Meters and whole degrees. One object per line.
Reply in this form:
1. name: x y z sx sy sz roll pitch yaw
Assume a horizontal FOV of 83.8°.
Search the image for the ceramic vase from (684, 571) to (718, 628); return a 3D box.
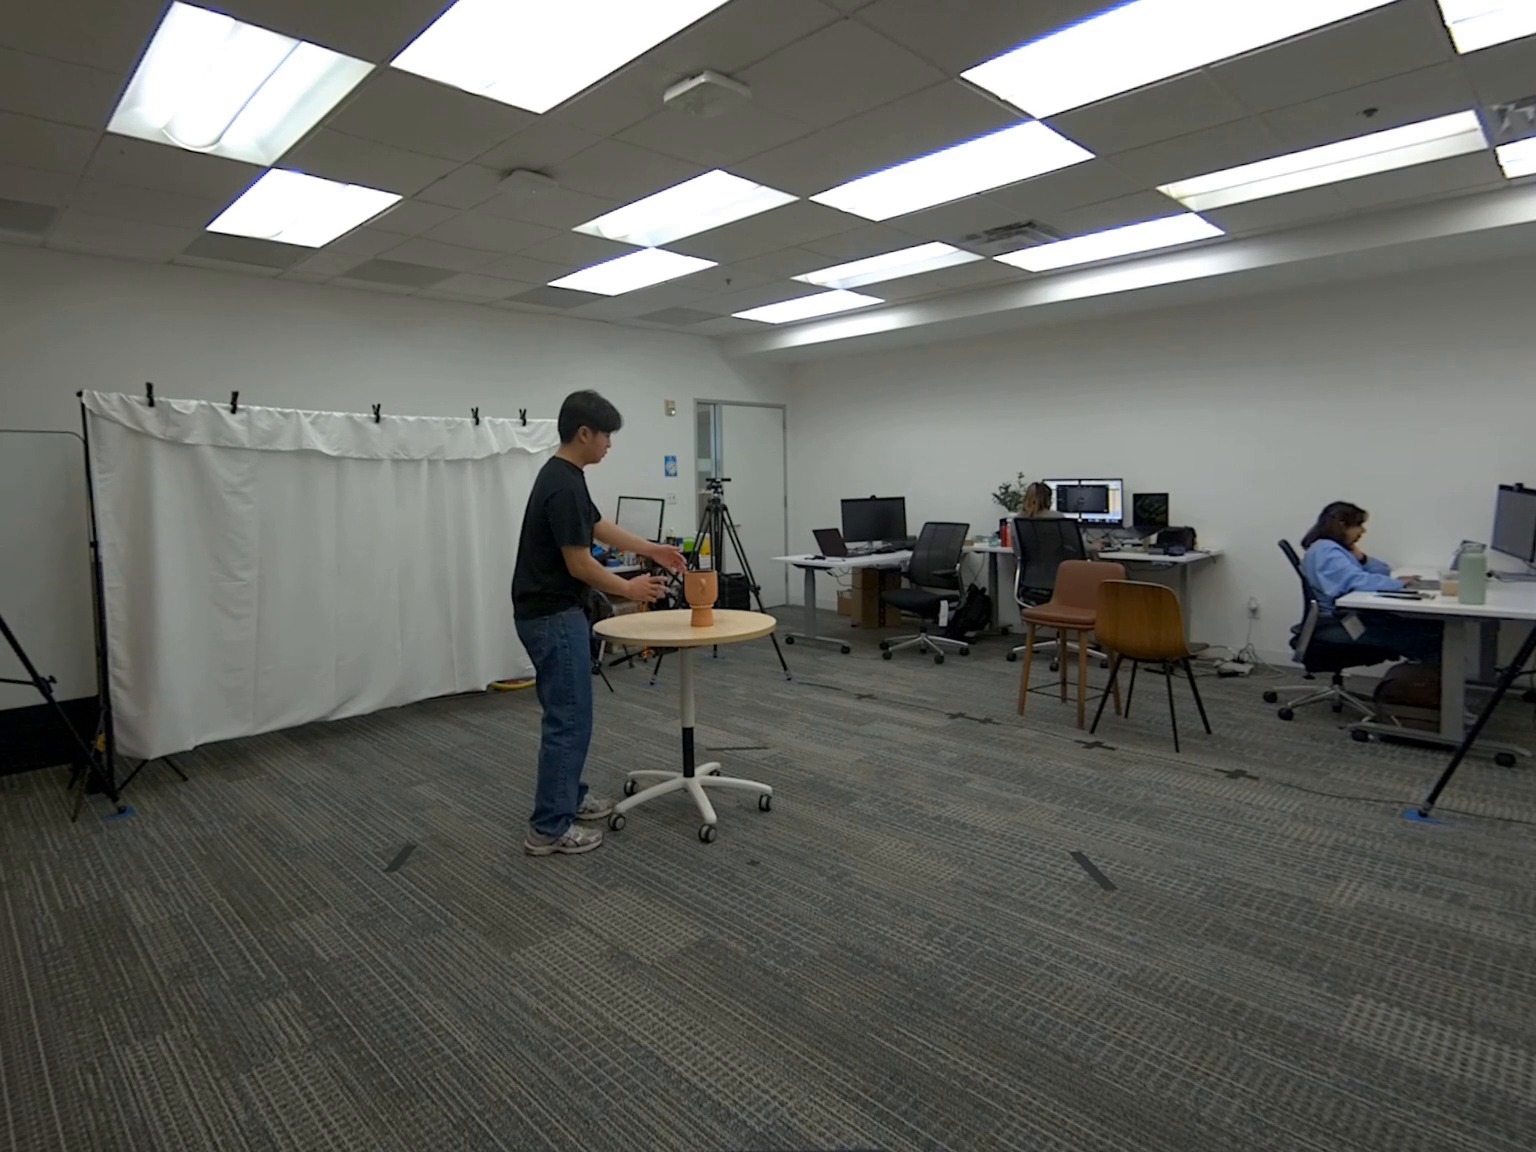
1. ceramic vase: -0.282 0.092 3.512 0.138 0.219 0.155 0 4 29
